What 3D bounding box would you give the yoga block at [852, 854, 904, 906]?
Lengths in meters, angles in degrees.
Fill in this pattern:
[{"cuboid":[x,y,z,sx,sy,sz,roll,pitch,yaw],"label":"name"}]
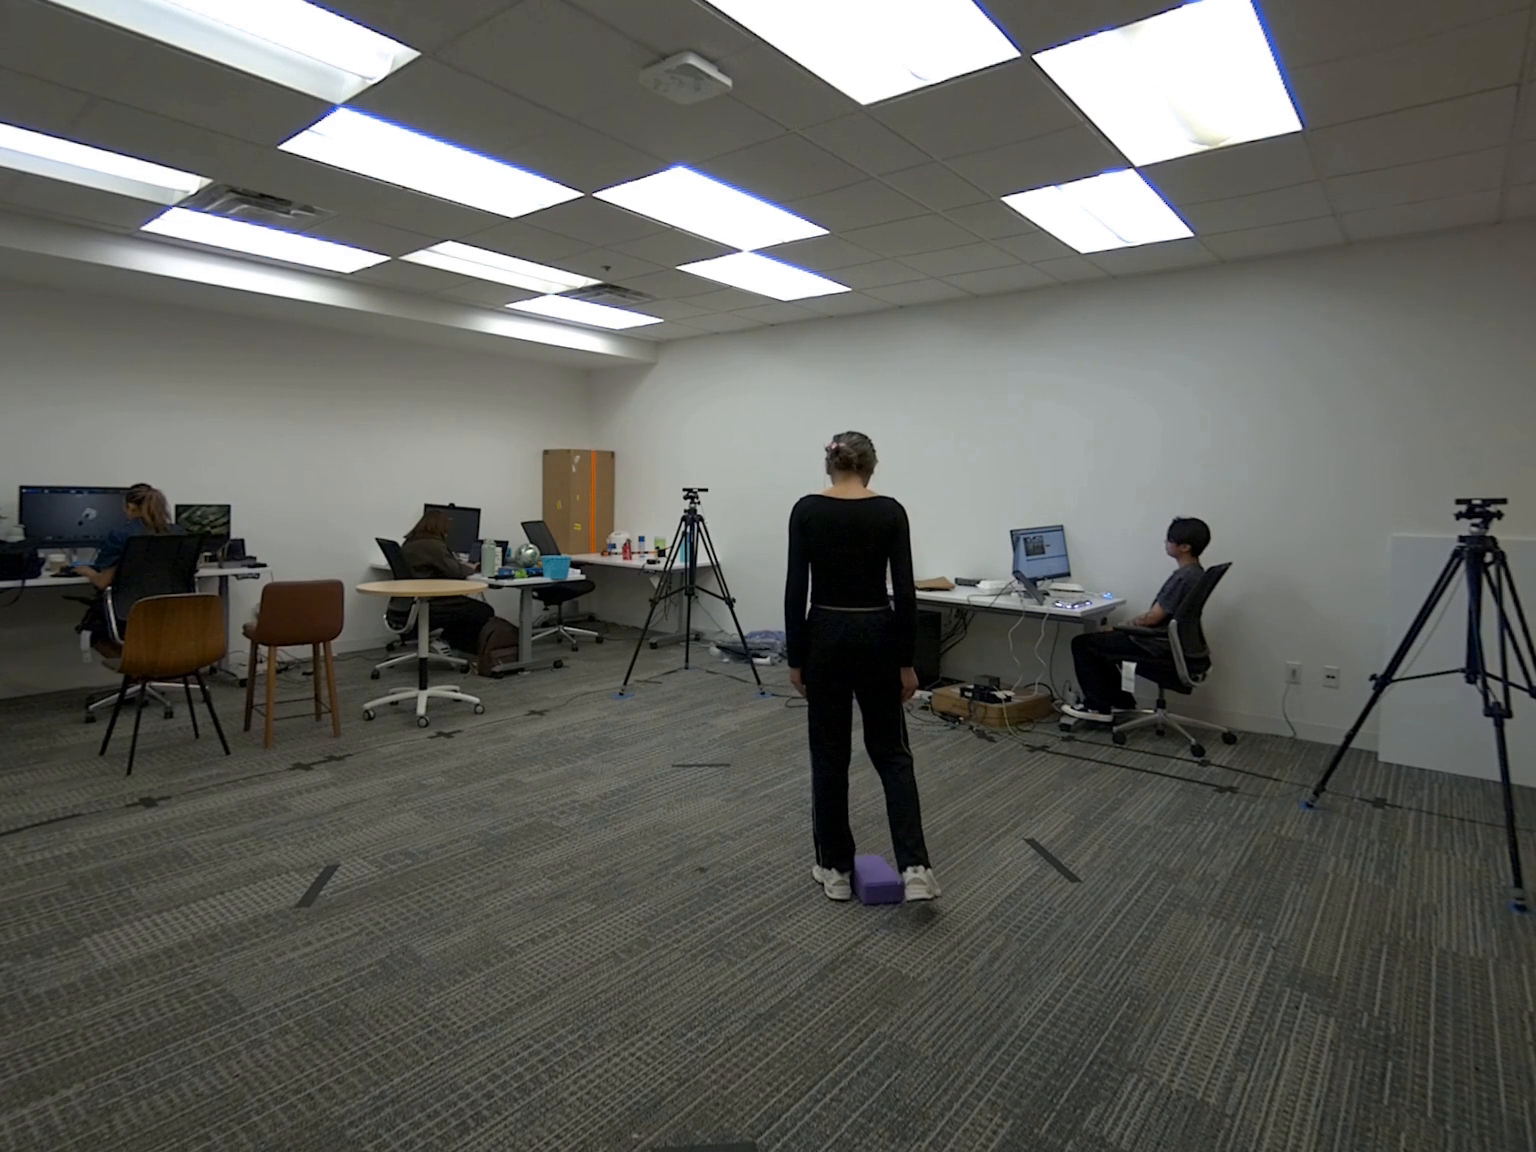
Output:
[{"cuboid":[0.357,1.053,2.978,0.147,0.076,0.233,0,6,-14],"label":"yoga block"}]
